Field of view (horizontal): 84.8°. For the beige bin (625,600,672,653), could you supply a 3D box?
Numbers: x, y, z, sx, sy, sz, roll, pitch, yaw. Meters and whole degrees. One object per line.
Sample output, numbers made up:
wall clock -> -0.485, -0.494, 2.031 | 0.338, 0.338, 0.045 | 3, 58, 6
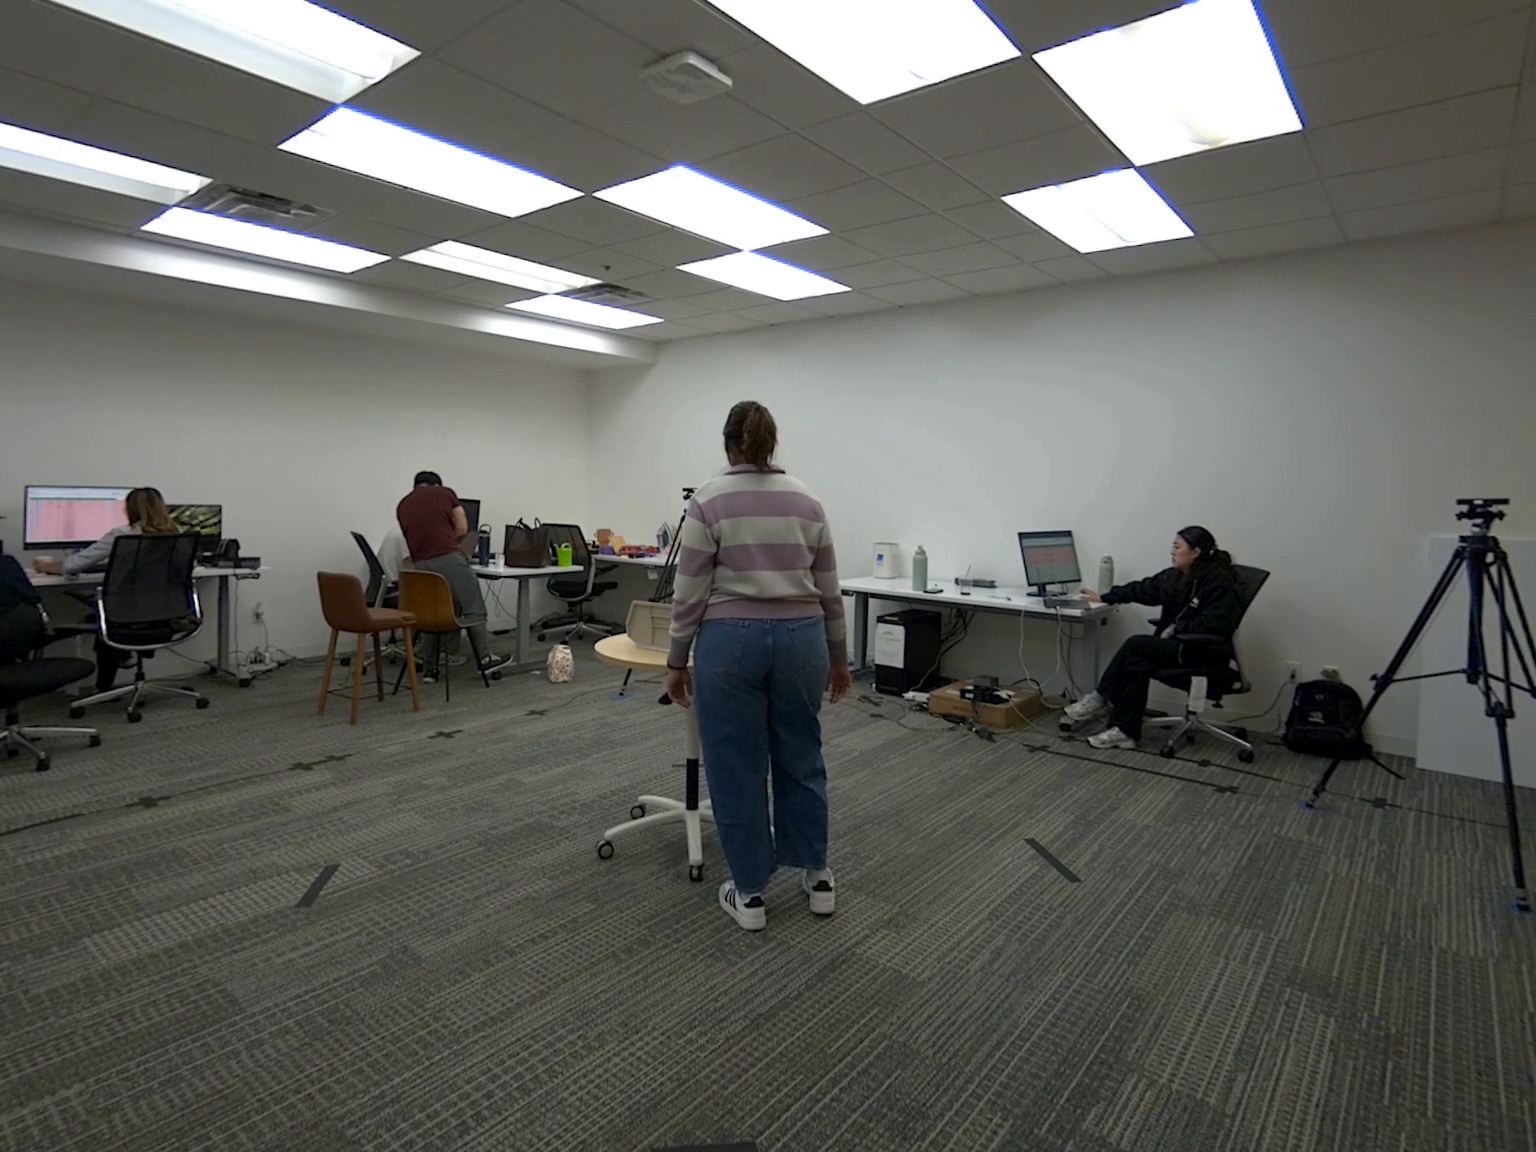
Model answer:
beige bin -> -0.282, 0.172, 3.314 | 0.389, 0.188, 0.411 | 6, 7, 32
